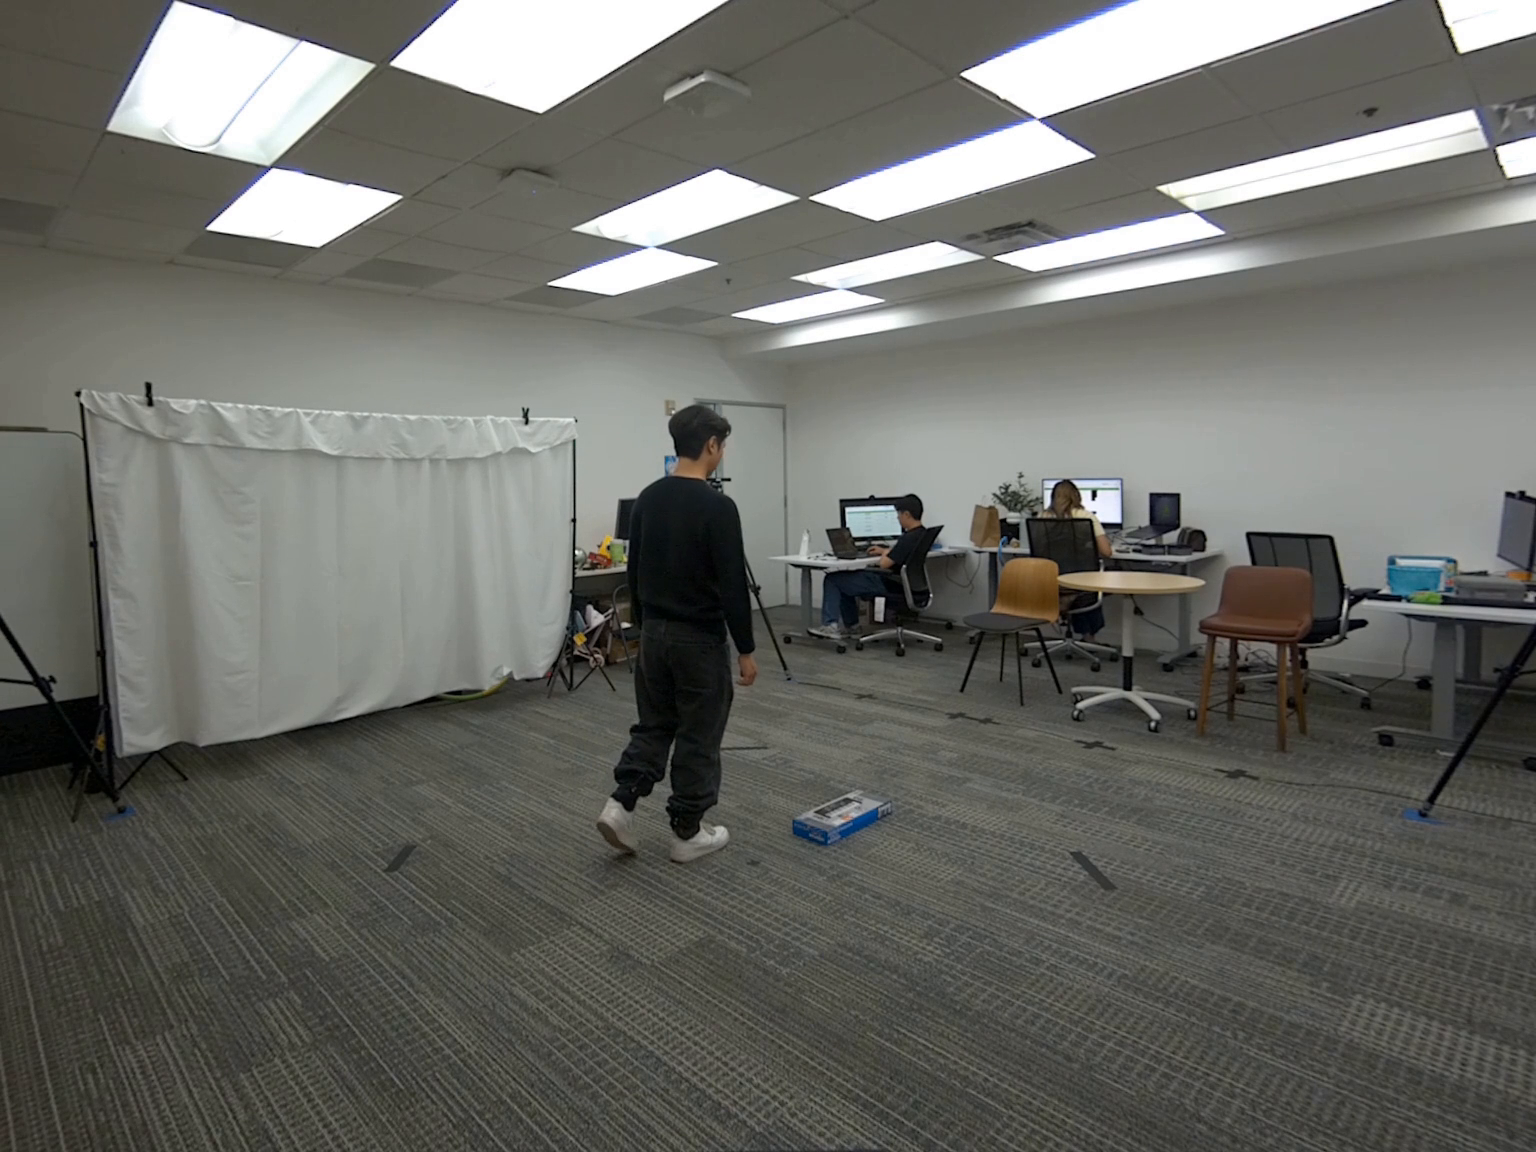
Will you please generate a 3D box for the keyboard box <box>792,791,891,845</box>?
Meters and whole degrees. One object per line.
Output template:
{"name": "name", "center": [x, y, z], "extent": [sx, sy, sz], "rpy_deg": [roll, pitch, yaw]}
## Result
{"name": "keyboard box", "center": [0.308, 0.968, 3.445], "extent": [0.181, 0.059, 0.426], "rpy_deg": [6, 10, 43]}
